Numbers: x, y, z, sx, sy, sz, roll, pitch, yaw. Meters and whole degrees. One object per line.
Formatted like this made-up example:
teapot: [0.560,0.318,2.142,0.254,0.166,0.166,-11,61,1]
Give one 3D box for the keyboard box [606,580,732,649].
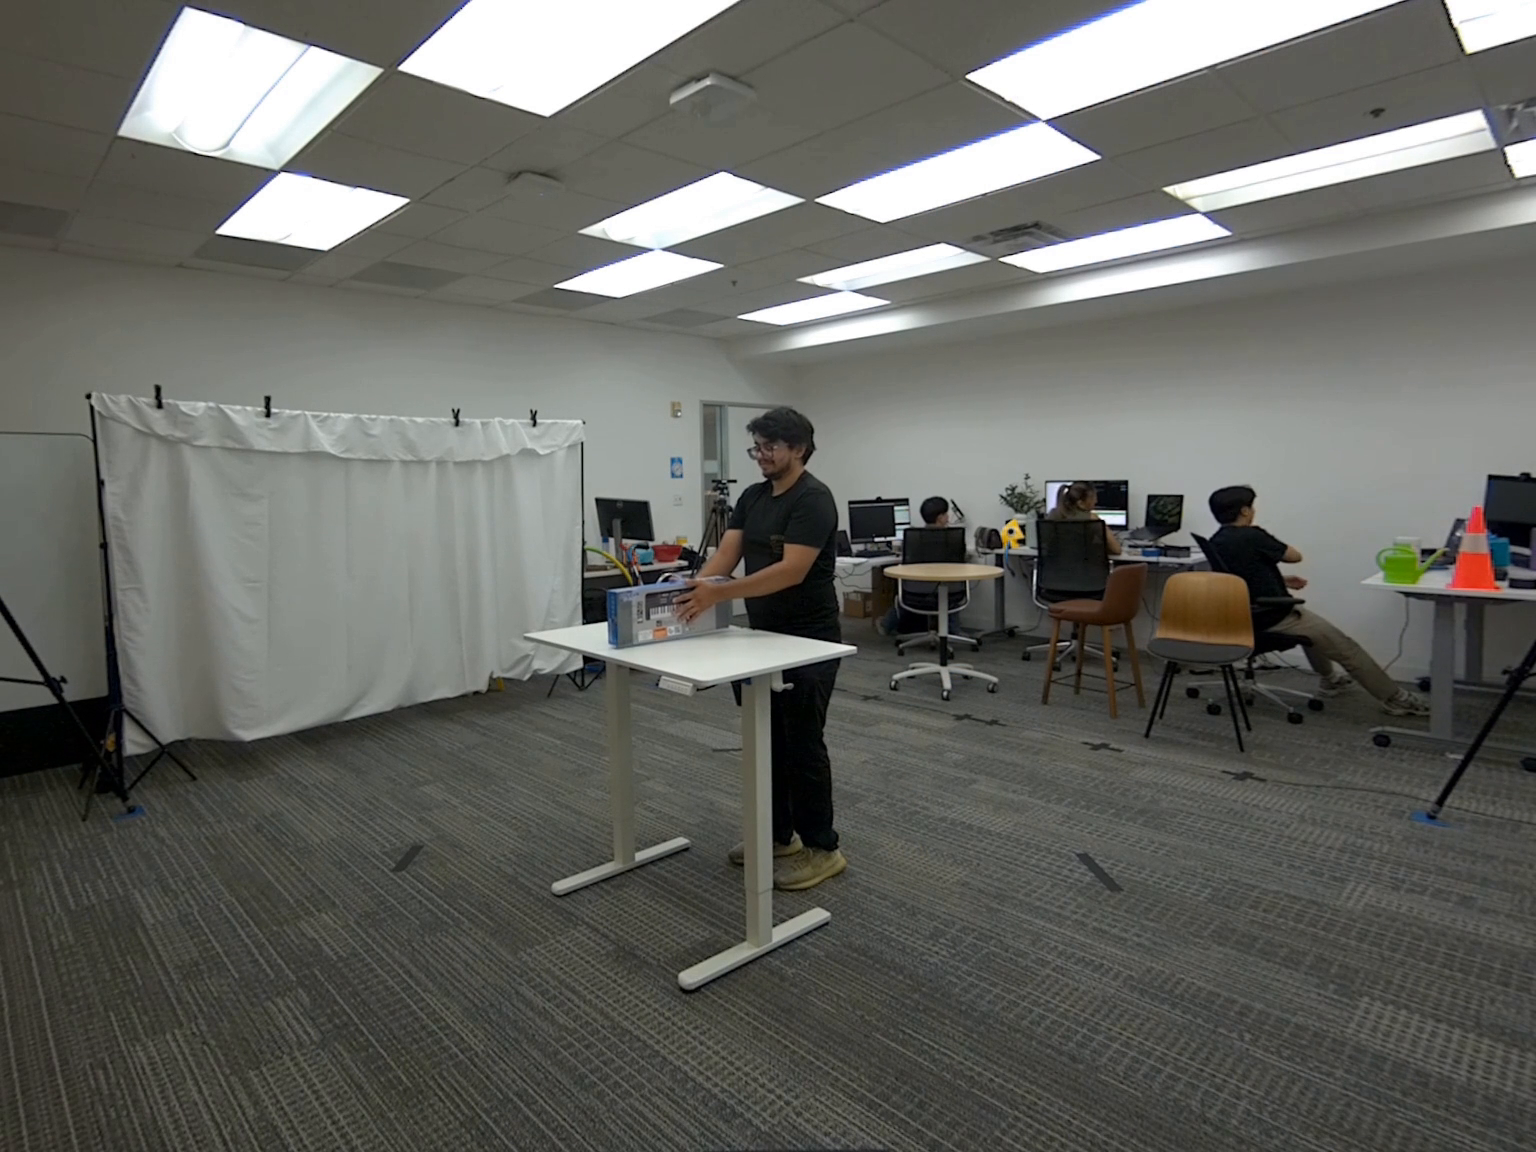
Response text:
keyboard box: [-0.315,0.114,2.766,0.426,0.175,0.061,-7,9,-39]
